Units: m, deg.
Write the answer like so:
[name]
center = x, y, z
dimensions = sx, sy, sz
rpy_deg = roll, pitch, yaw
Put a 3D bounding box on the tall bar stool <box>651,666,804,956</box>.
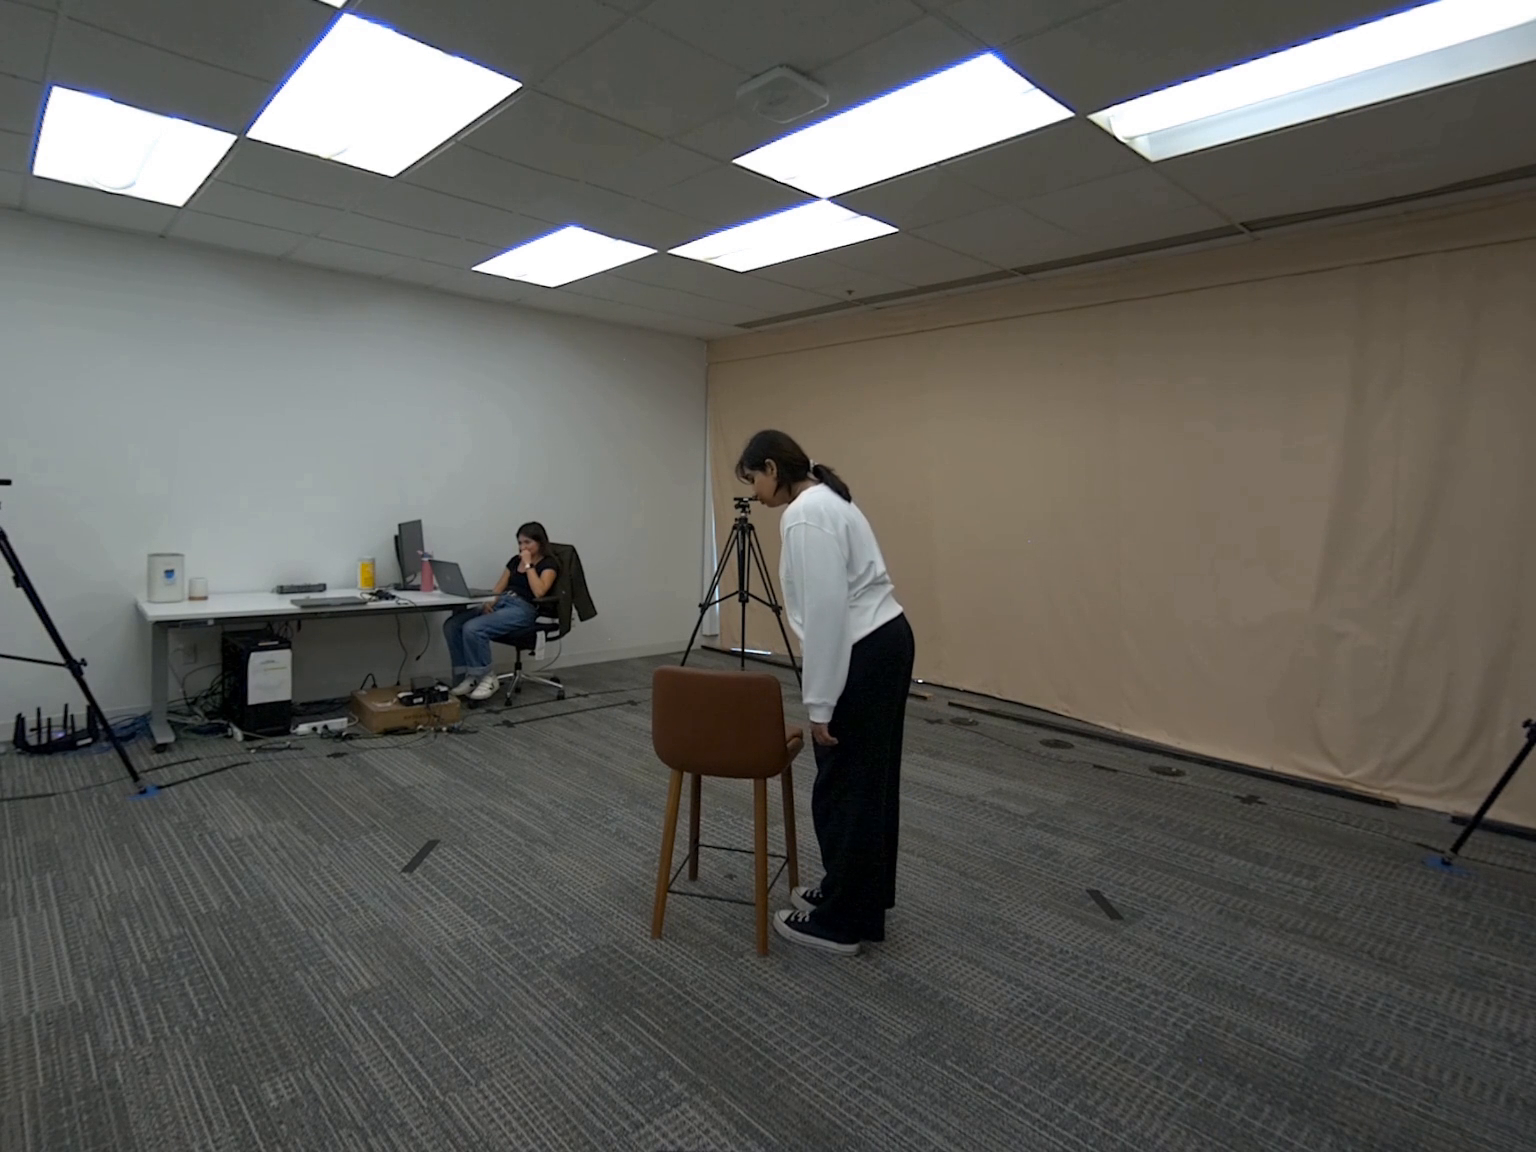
[tall bar stool]
center = -0.132, 0.704, 2.794
dimensions = 0.462, 0.887, 0.463
rpy_deg = 3, 5, 16
